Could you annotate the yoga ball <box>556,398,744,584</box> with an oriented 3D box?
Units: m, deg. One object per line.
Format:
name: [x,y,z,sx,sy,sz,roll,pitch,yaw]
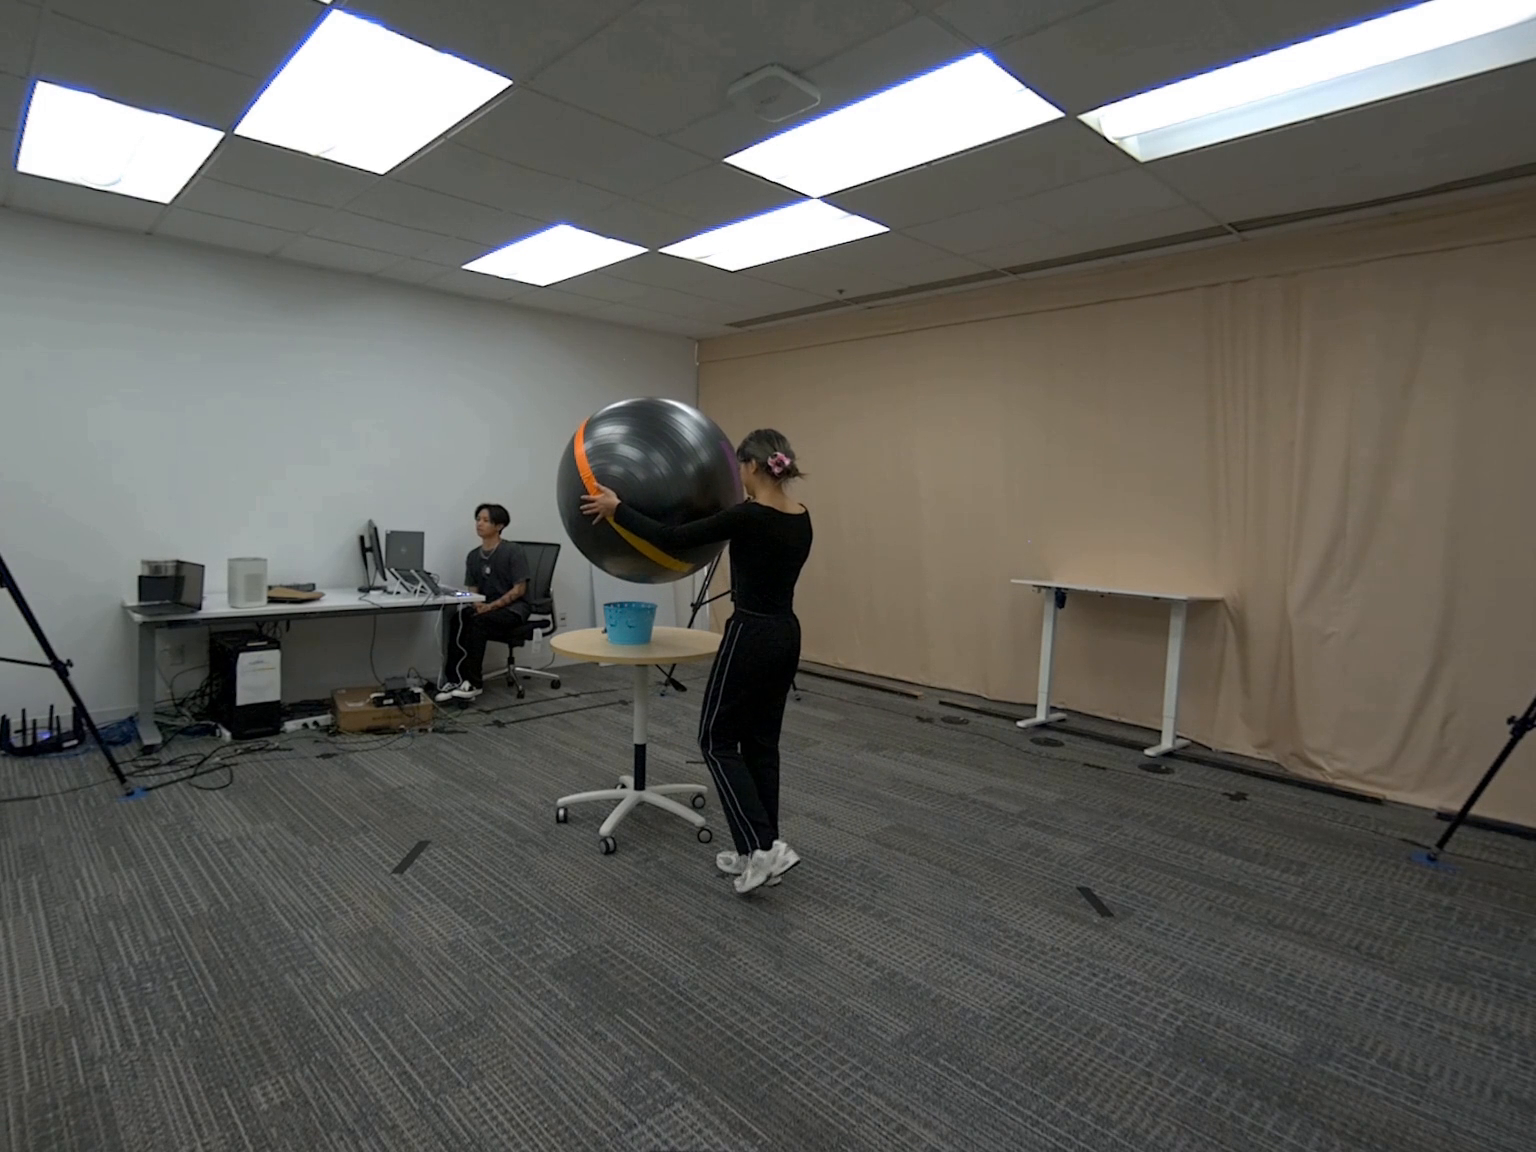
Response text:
yoga ball: [-0.488,-0.343,3.436,0.757,0.756,0.761,1,4,-1]
